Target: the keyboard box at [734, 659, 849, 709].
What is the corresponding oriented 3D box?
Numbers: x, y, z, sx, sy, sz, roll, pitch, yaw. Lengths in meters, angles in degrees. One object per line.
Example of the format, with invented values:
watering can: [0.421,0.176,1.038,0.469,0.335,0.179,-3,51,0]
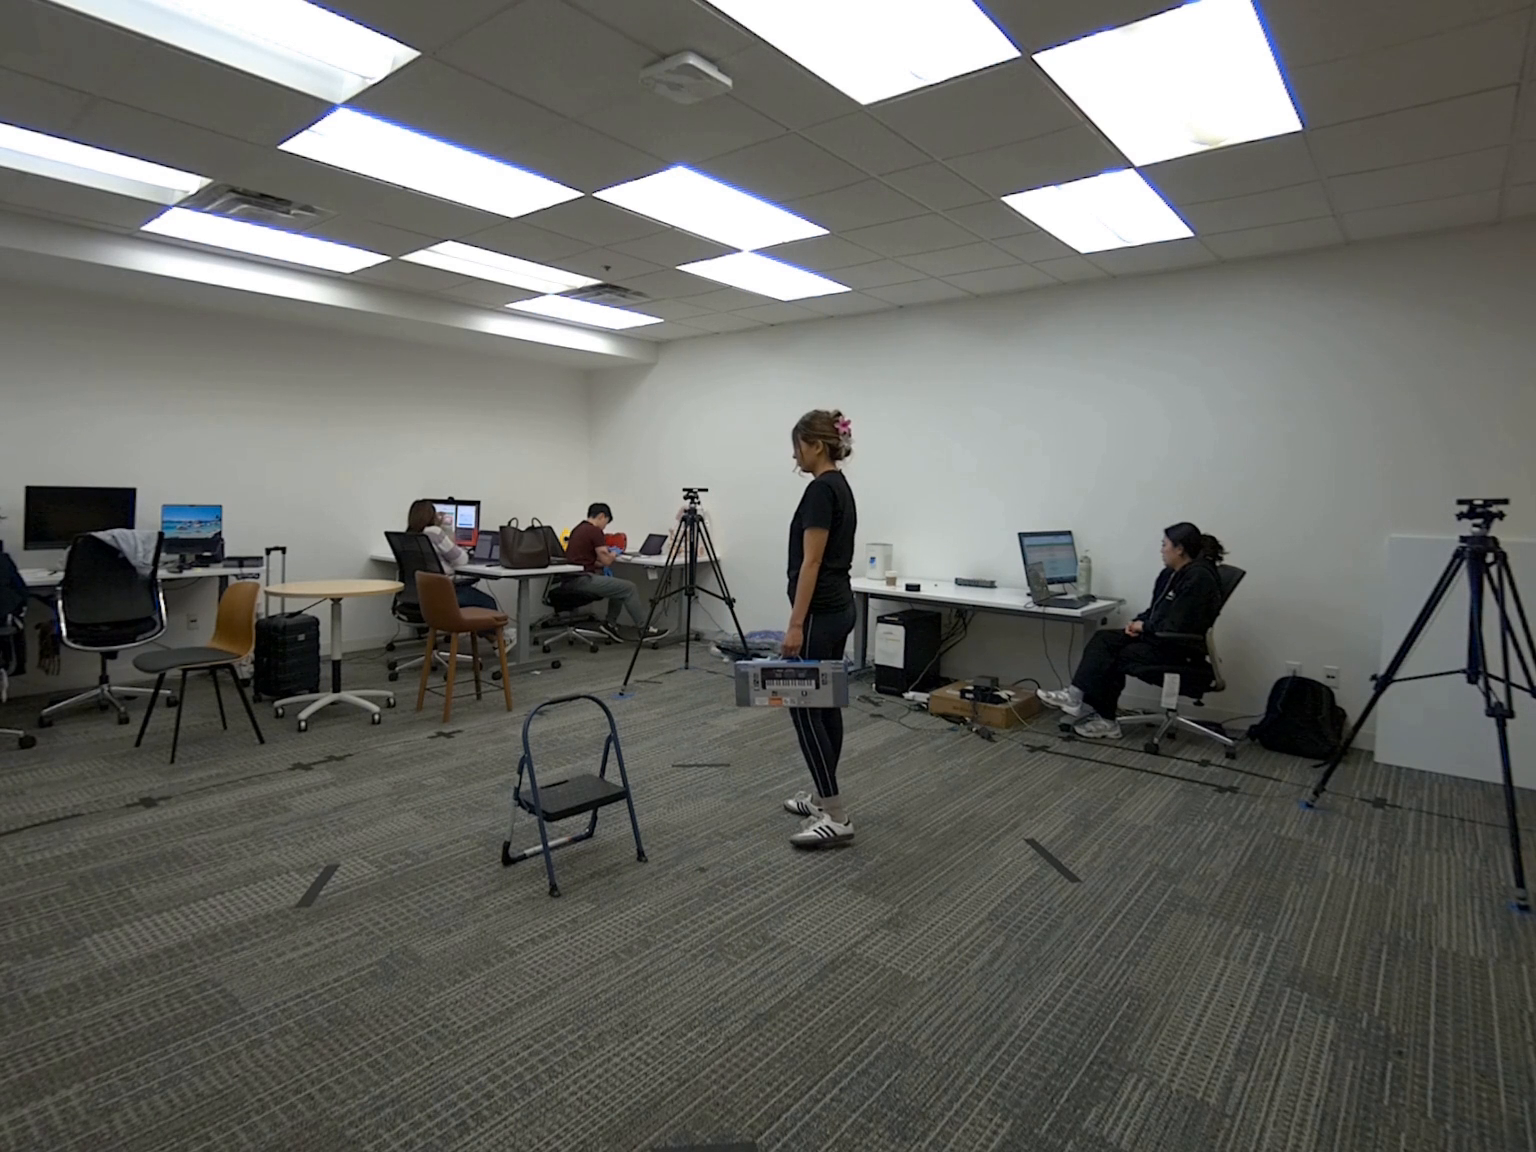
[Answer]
keyboard box: [0.080,0.414,3.310,0.442,0.175,0.058,-3,3,11]
